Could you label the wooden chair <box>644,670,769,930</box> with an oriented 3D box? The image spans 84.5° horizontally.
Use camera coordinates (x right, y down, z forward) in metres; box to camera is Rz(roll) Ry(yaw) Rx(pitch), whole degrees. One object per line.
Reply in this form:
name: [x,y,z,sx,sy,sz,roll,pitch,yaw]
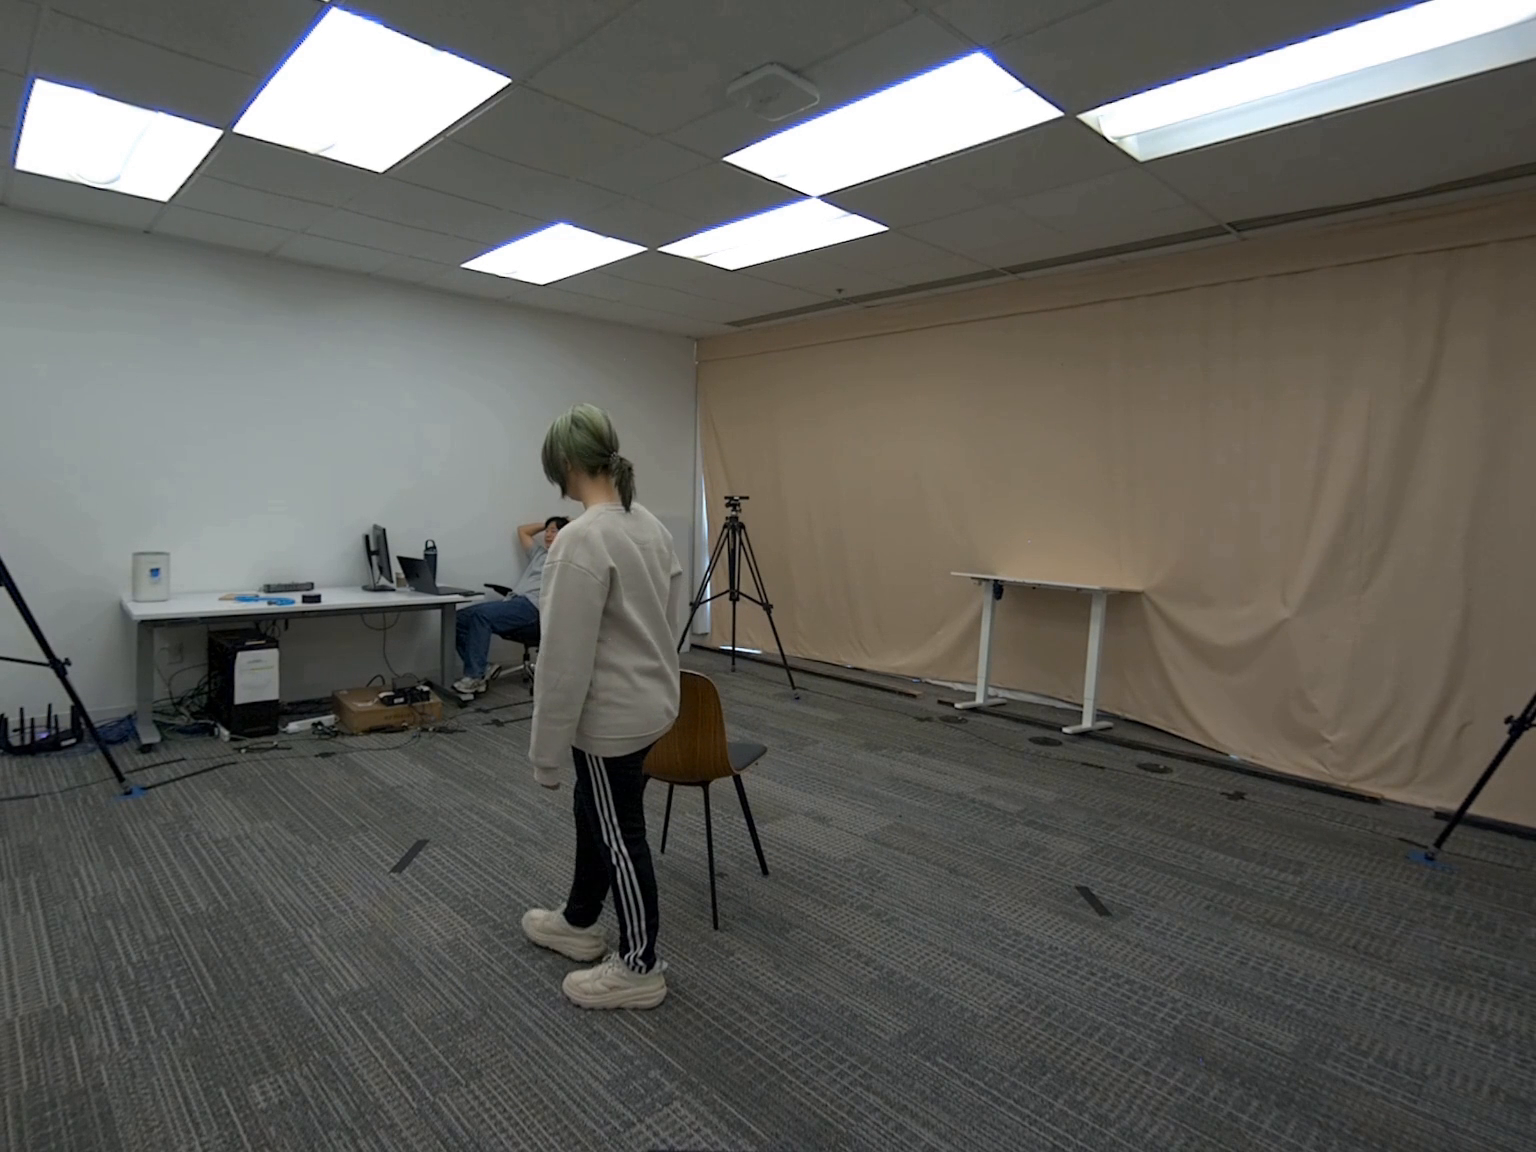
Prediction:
wooden chair: [-0.282,0.686,2.979,0.487,0.872,0.516,2,8,23]
